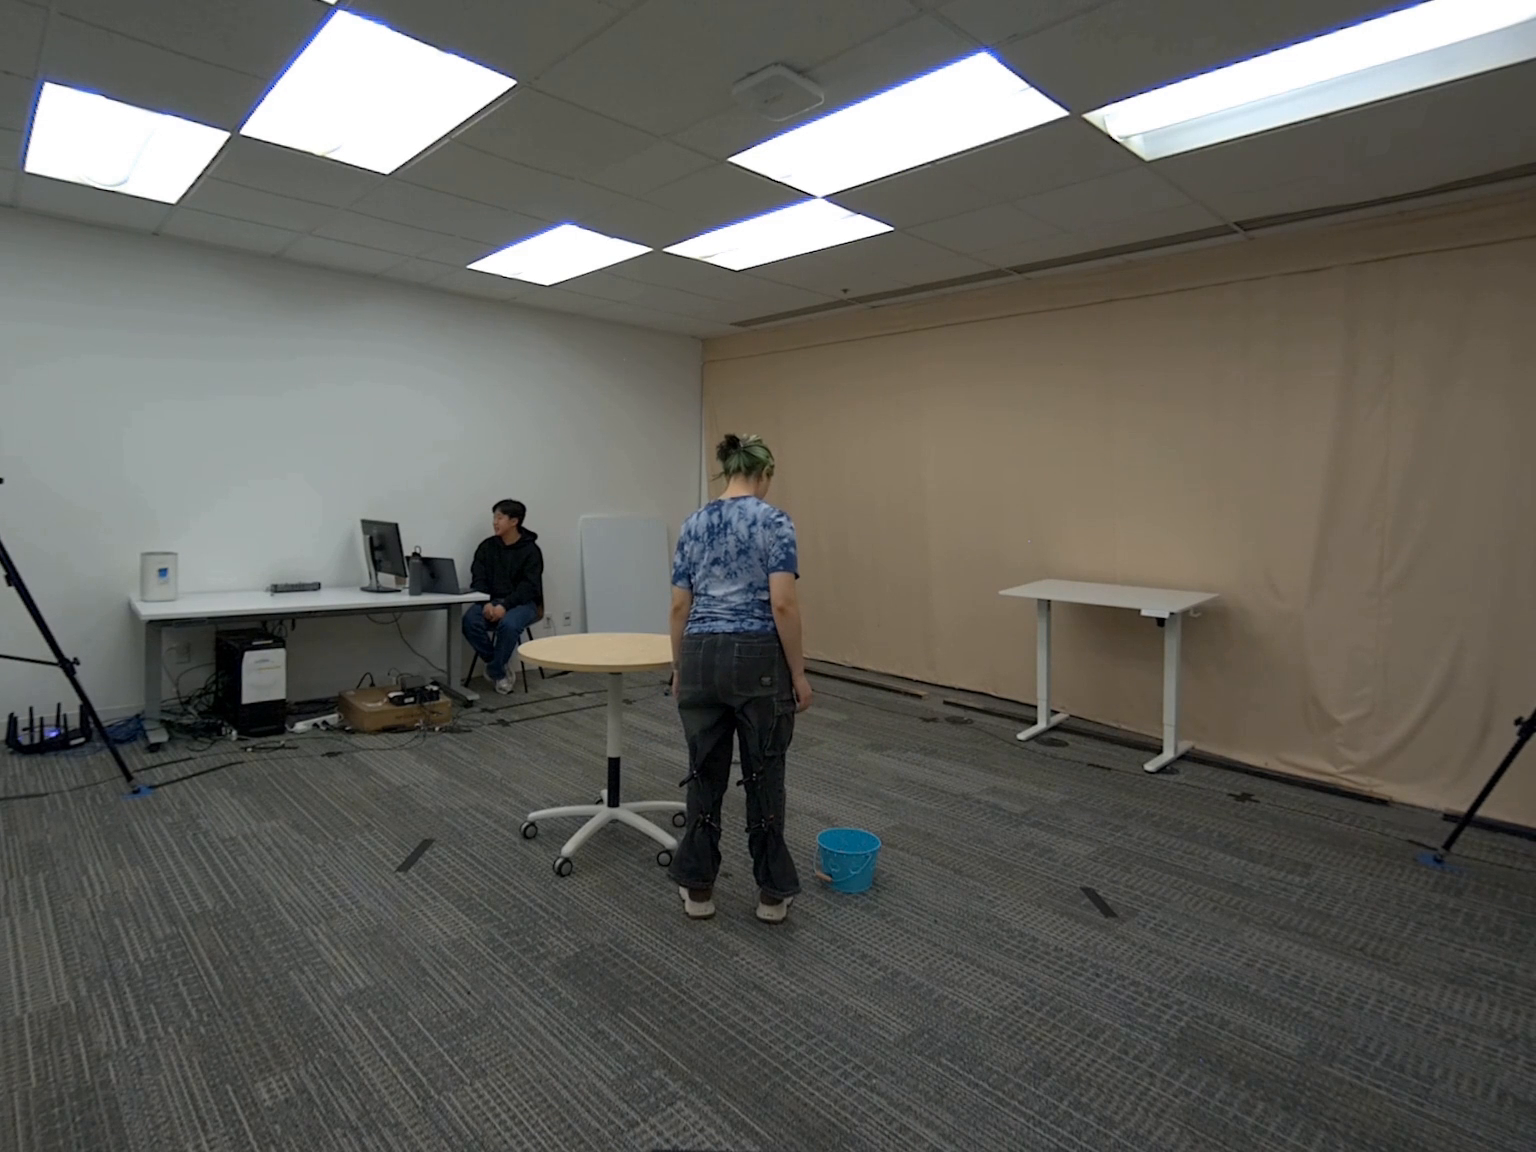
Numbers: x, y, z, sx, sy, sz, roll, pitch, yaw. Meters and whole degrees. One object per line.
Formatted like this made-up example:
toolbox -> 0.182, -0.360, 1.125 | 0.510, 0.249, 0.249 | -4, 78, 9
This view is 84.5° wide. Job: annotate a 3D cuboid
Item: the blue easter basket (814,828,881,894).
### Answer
blue easter basket -> 0.281, 1.036, 3.073 | 0.243, 0.155, 0.244 | 2, 5, -2
